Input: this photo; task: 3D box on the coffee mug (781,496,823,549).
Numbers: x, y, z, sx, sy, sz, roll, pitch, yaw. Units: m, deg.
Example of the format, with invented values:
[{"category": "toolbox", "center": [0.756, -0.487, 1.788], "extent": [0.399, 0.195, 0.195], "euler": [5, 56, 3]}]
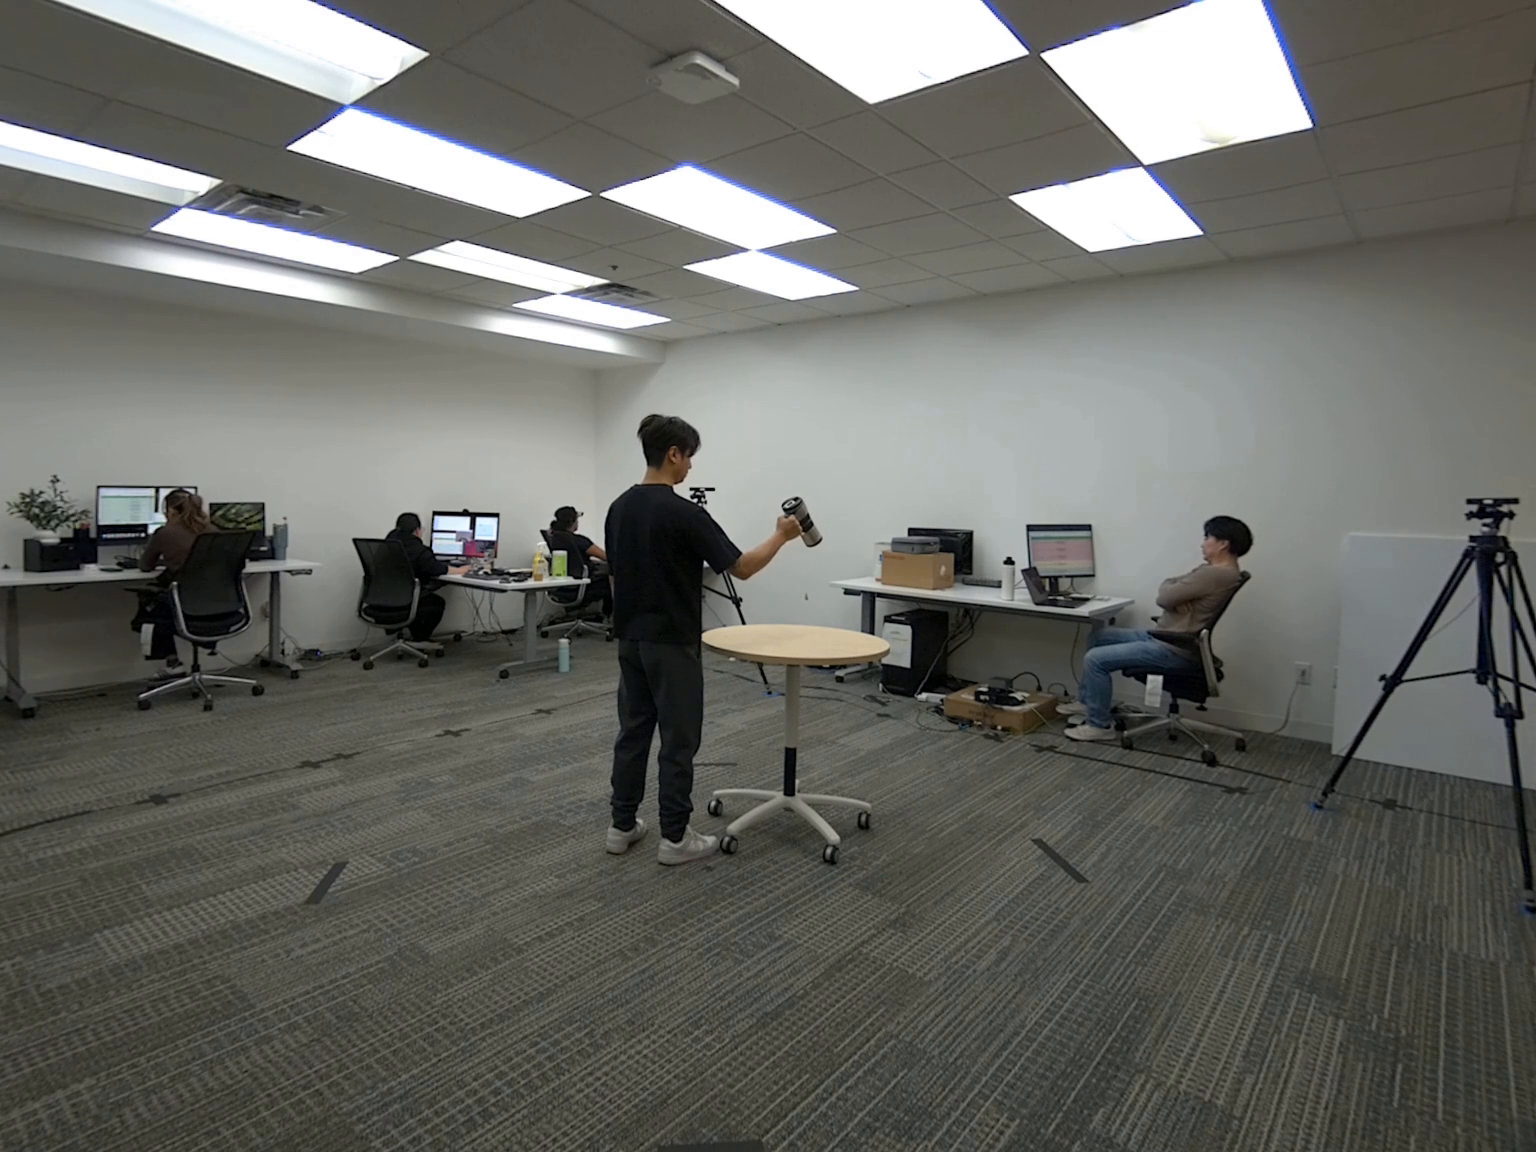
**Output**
[{"category": "coffee mug", "center": [0.112, -0.199, 3.324], "extent": [0.121, 0.197, 0.090], "euler": [-33, 23, -8]}]
